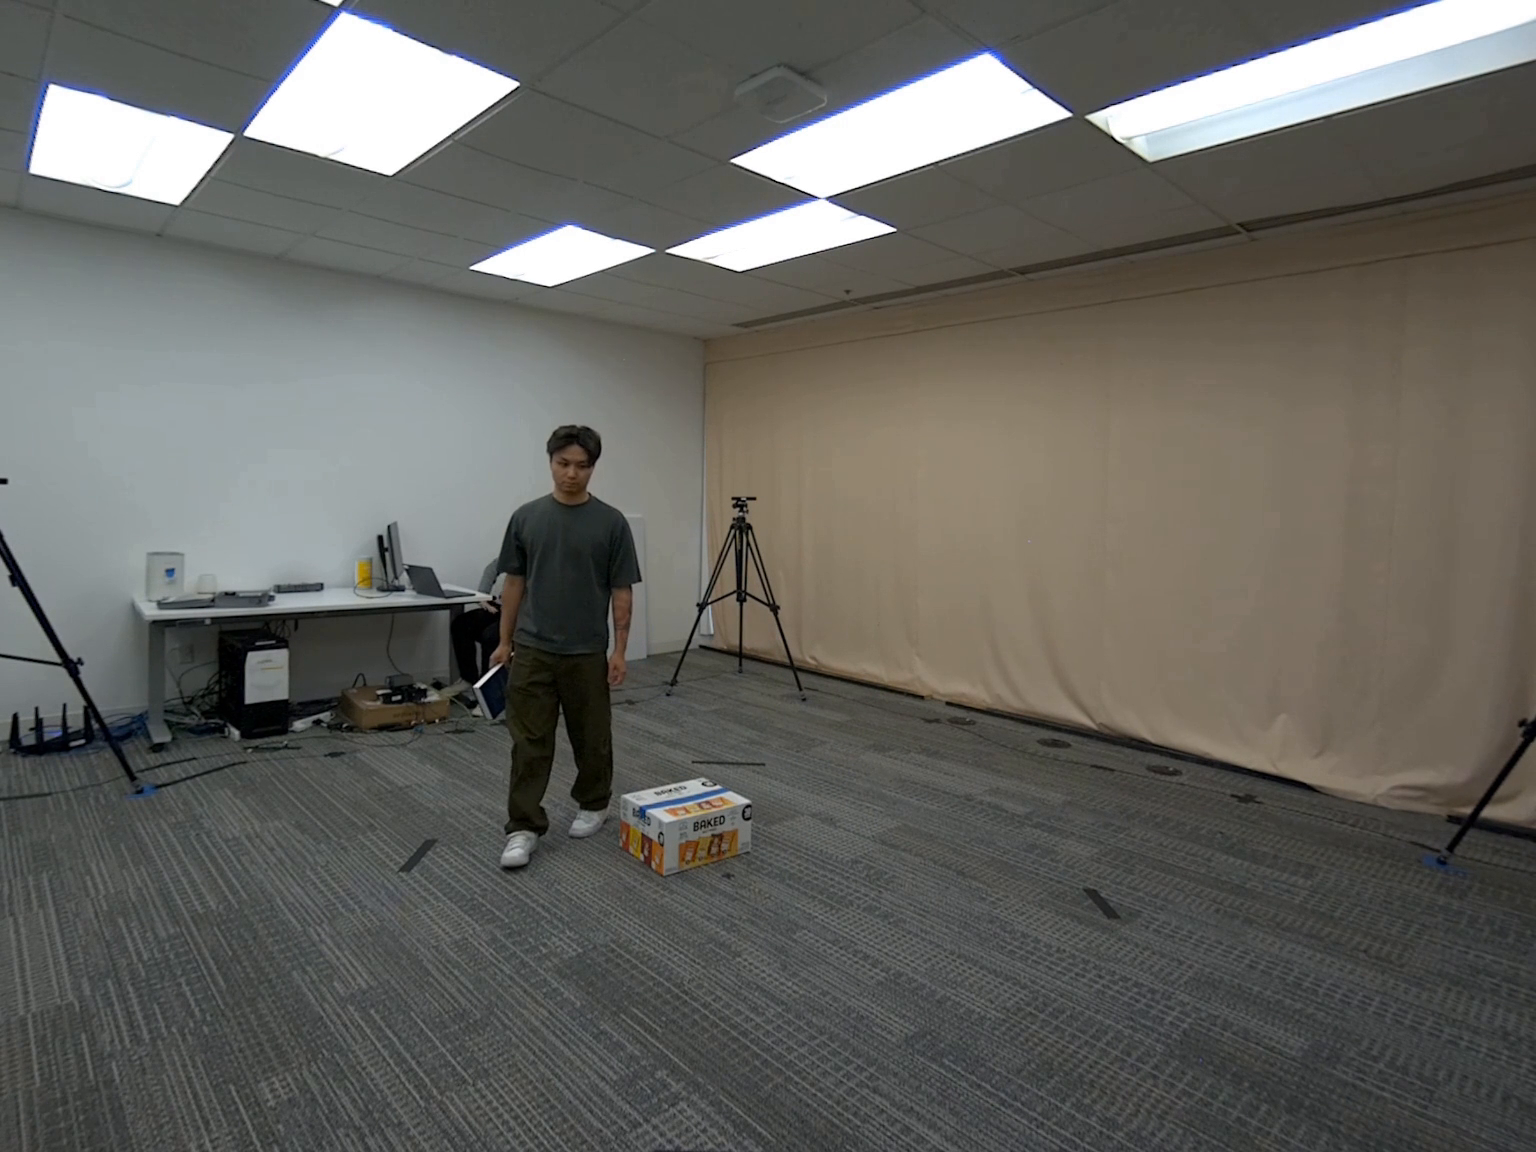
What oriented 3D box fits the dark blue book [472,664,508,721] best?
[{"bbox_3d":[-1.077,0.437,3.393,0.046,0.160,0.245,-2,27,25],"label":"dark blue book"}]
